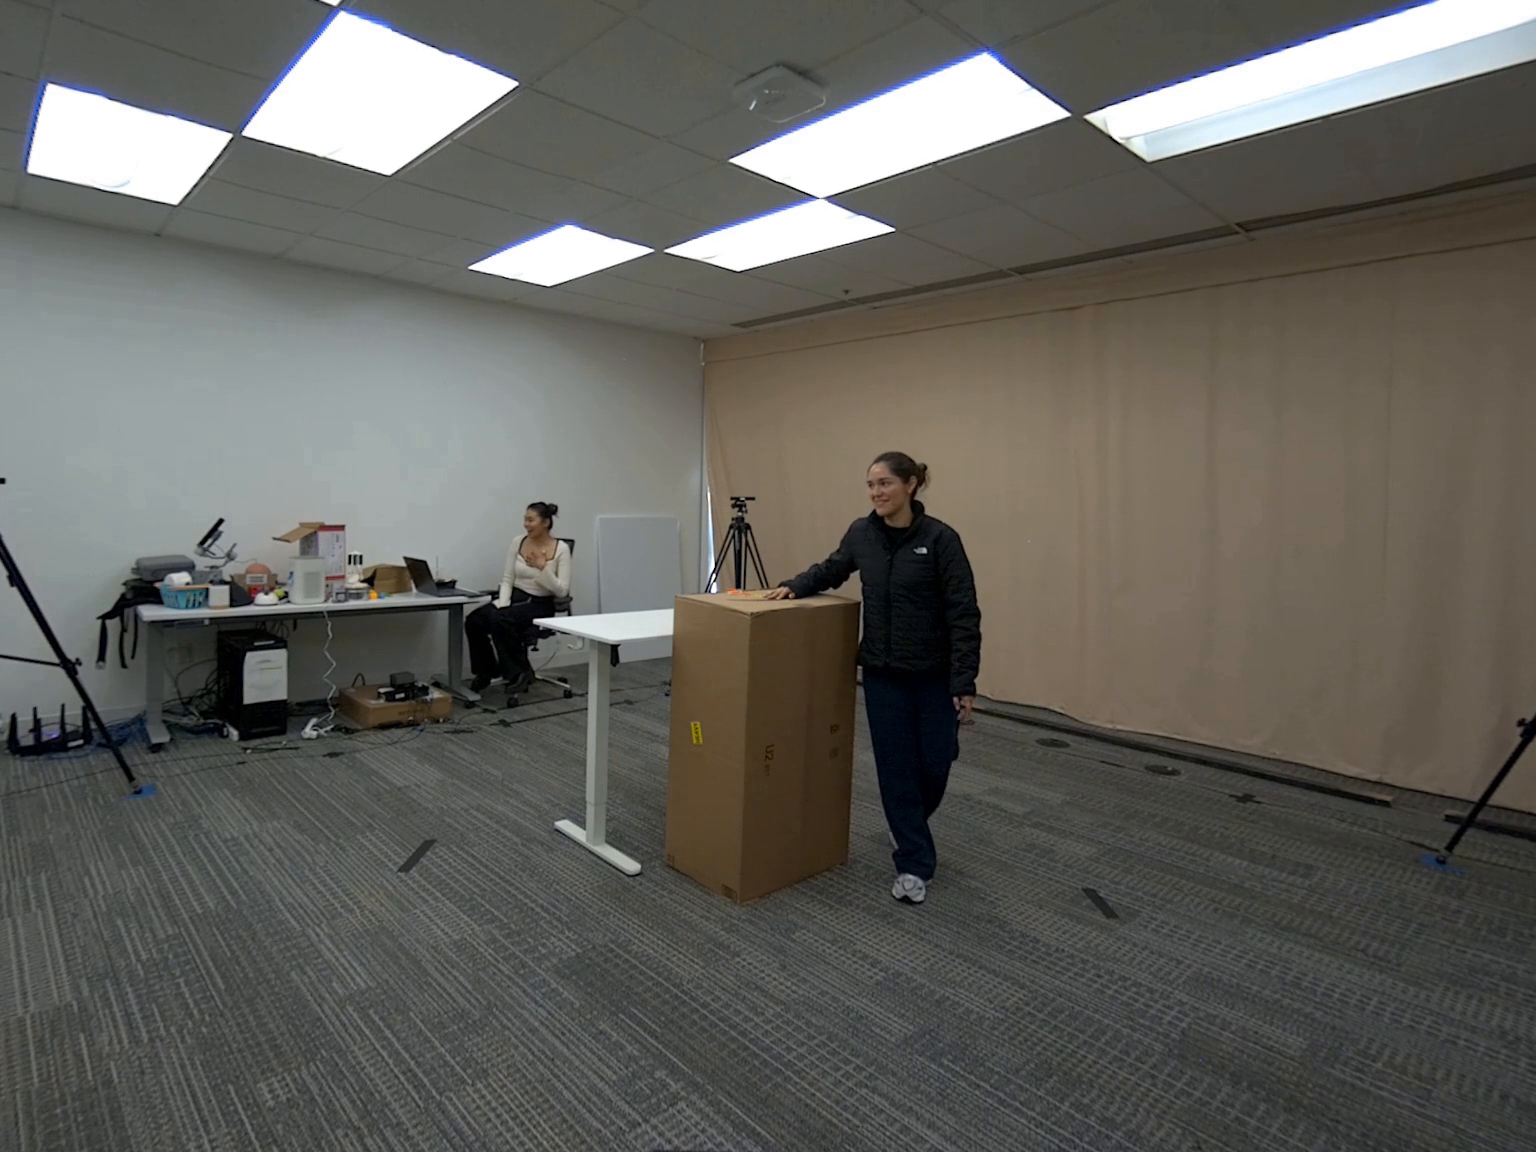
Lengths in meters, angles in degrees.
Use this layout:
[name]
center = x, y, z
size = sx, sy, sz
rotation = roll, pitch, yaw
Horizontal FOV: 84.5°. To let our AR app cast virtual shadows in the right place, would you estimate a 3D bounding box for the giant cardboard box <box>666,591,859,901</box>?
[giant cardboard box]
center = -0.026, 0.589, 3.163
size = 0.571, 1.023, 0.458
rotation = -2, 6, -42
